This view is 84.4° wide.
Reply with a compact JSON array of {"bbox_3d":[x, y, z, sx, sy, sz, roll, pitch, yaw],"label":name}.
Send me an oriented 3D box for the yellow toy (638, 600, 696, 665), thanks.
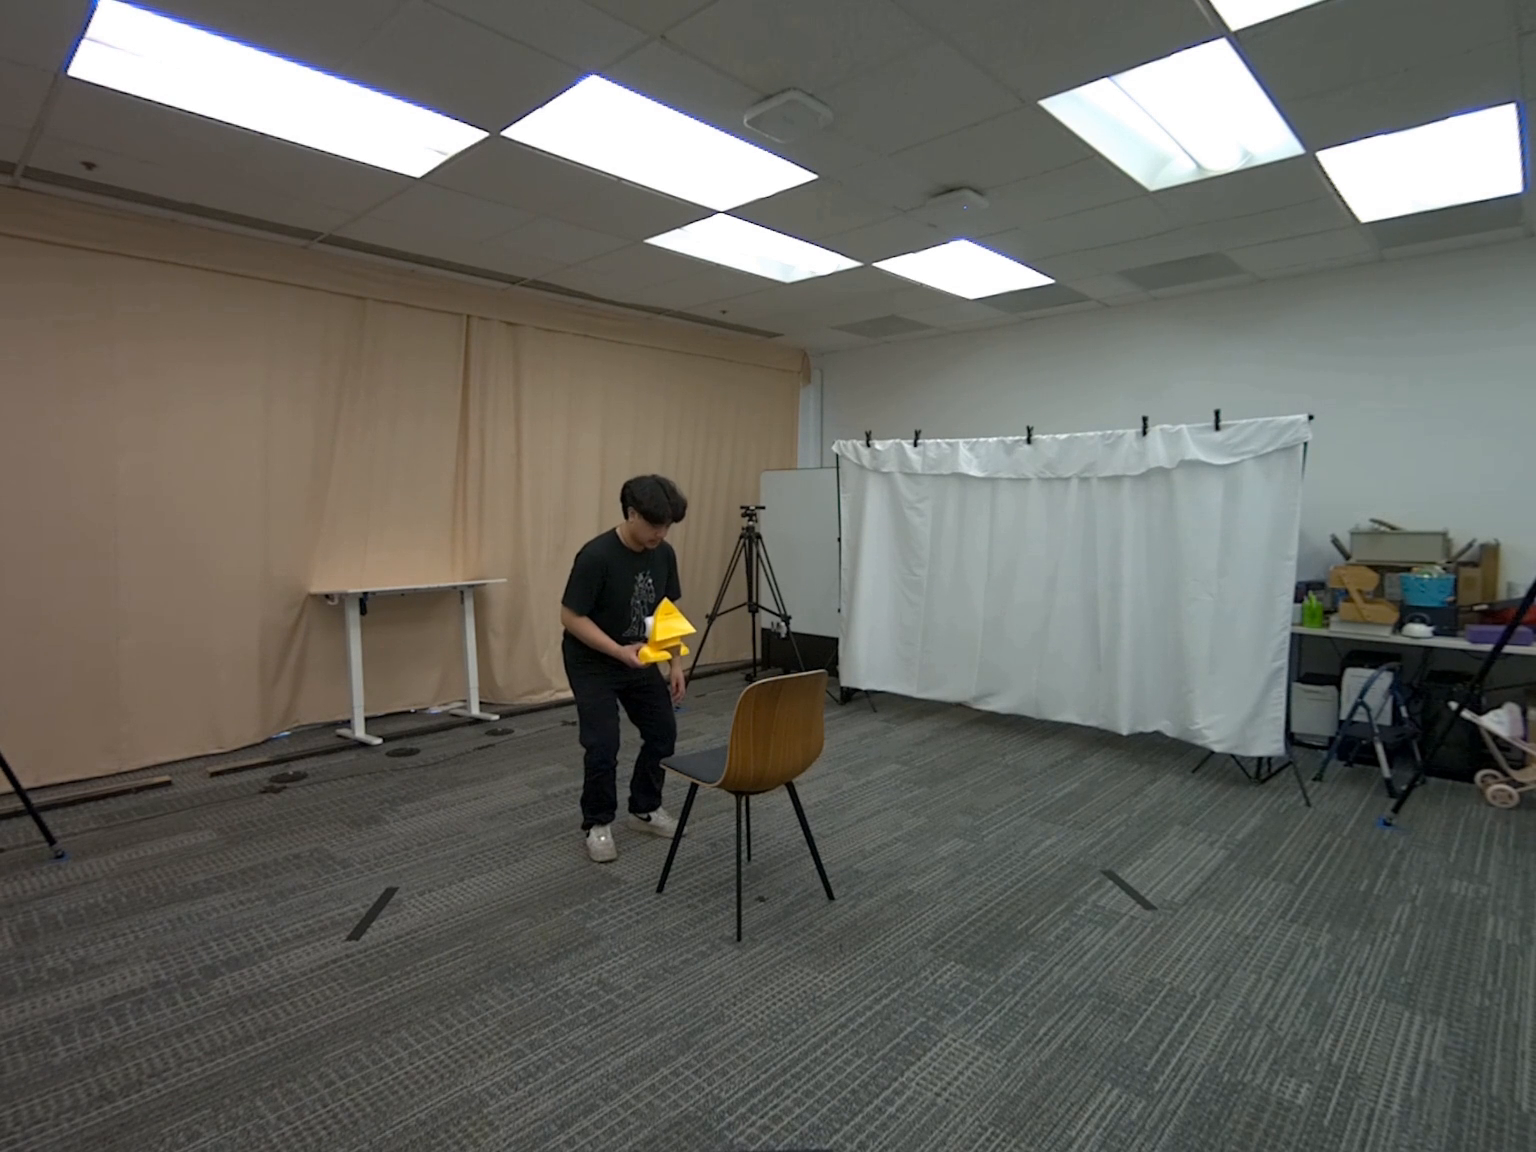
[{"bbox_3d":[-0.415,0.209,3.270,0.198,0.231,0.199,-10,-1,44],"label":"yellow toy"}]
